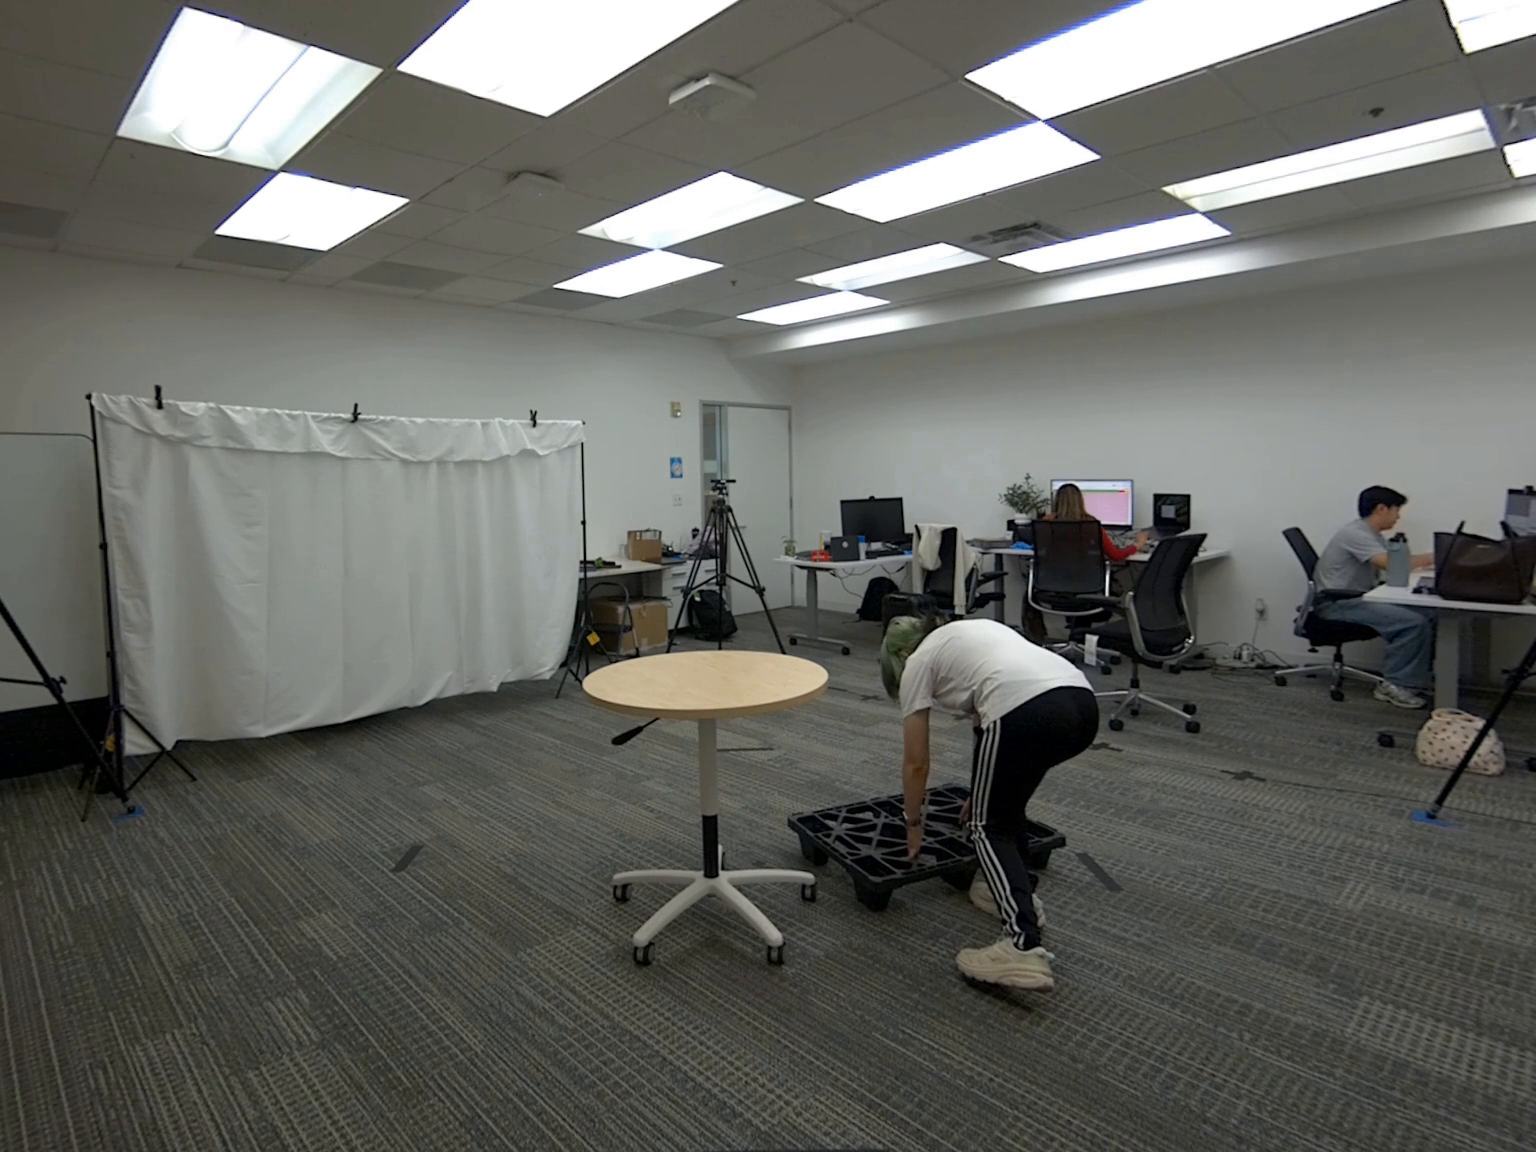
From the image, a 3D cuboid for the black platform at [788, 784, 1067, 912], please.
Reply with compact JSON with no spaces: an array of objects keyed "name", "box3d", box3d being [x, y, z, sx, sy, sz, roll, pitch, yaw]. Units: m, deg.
[{"name":"black platform","box3d":[0.564,0.965,3.095,0.789,0.142,0.620,-4,7,-25]}]
